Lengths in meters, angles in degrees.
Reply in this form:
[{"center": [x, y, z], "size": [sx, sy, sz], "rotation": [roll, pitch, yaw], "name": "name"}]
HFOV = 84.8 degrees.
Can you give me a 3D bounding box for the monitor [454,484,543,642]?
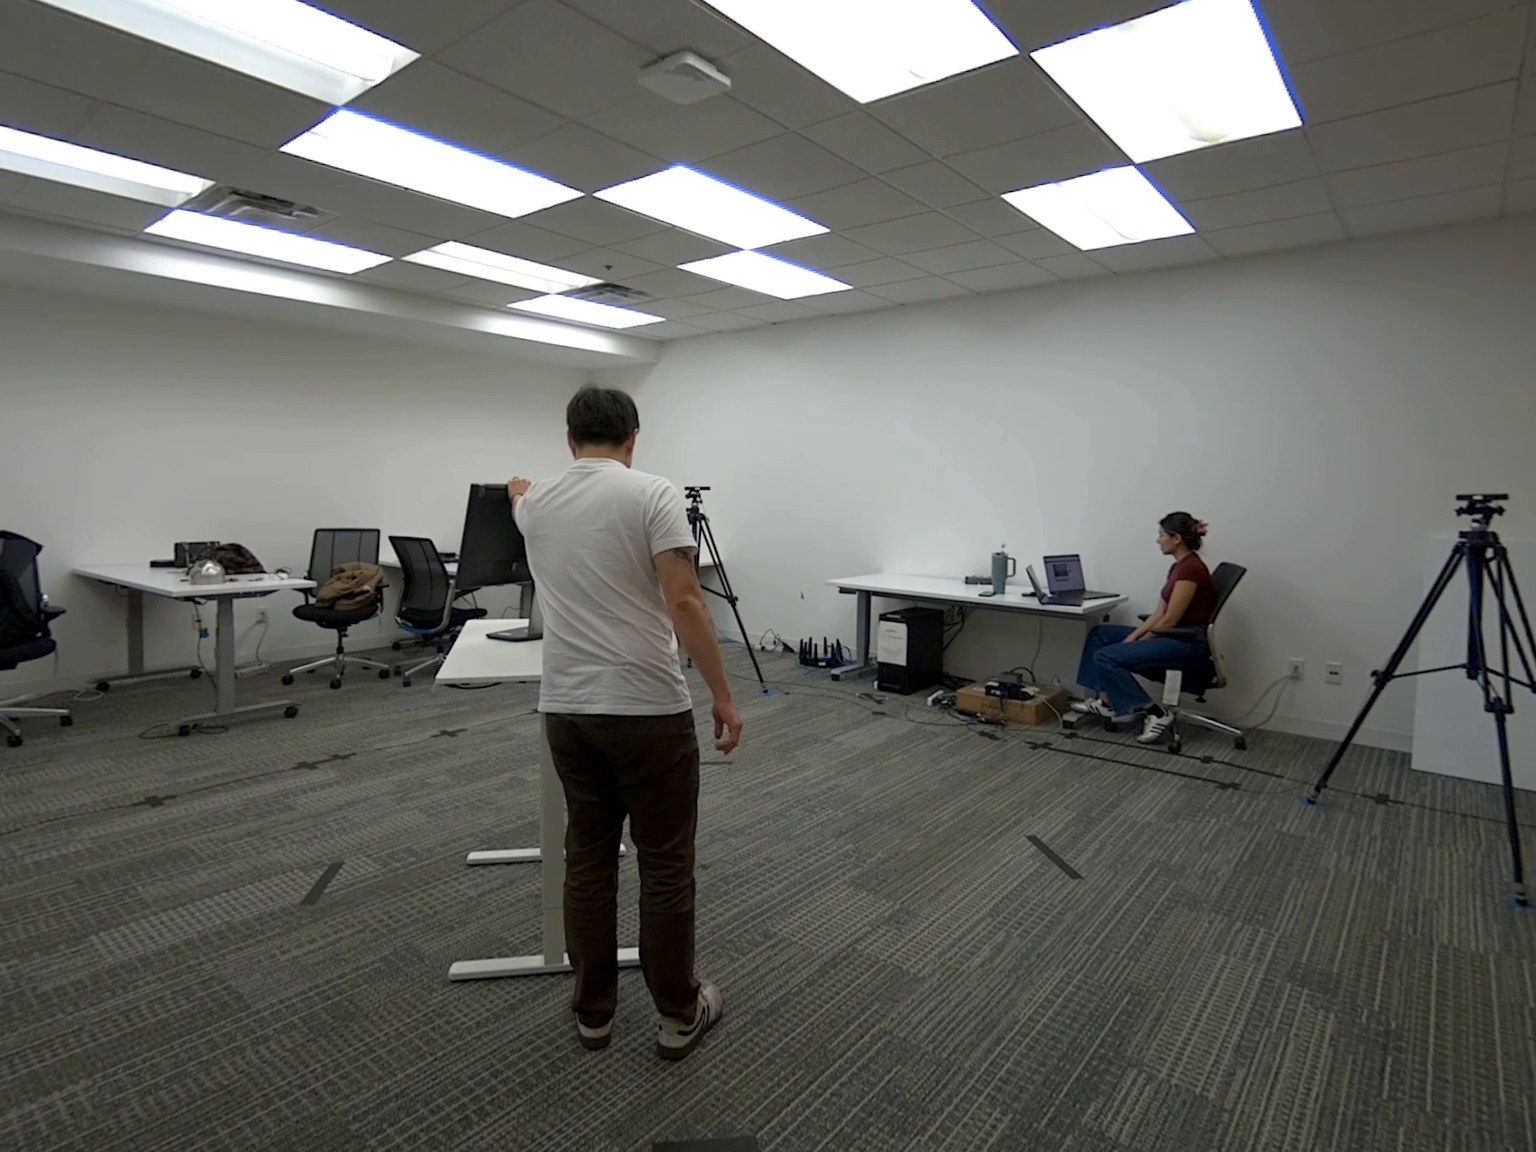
[{"center": [-0.809, -0.051, 2.876], "size": [0.193, 0.520, 0.524], "rotation": [5, 6, 33], "name": "monitor"}]
